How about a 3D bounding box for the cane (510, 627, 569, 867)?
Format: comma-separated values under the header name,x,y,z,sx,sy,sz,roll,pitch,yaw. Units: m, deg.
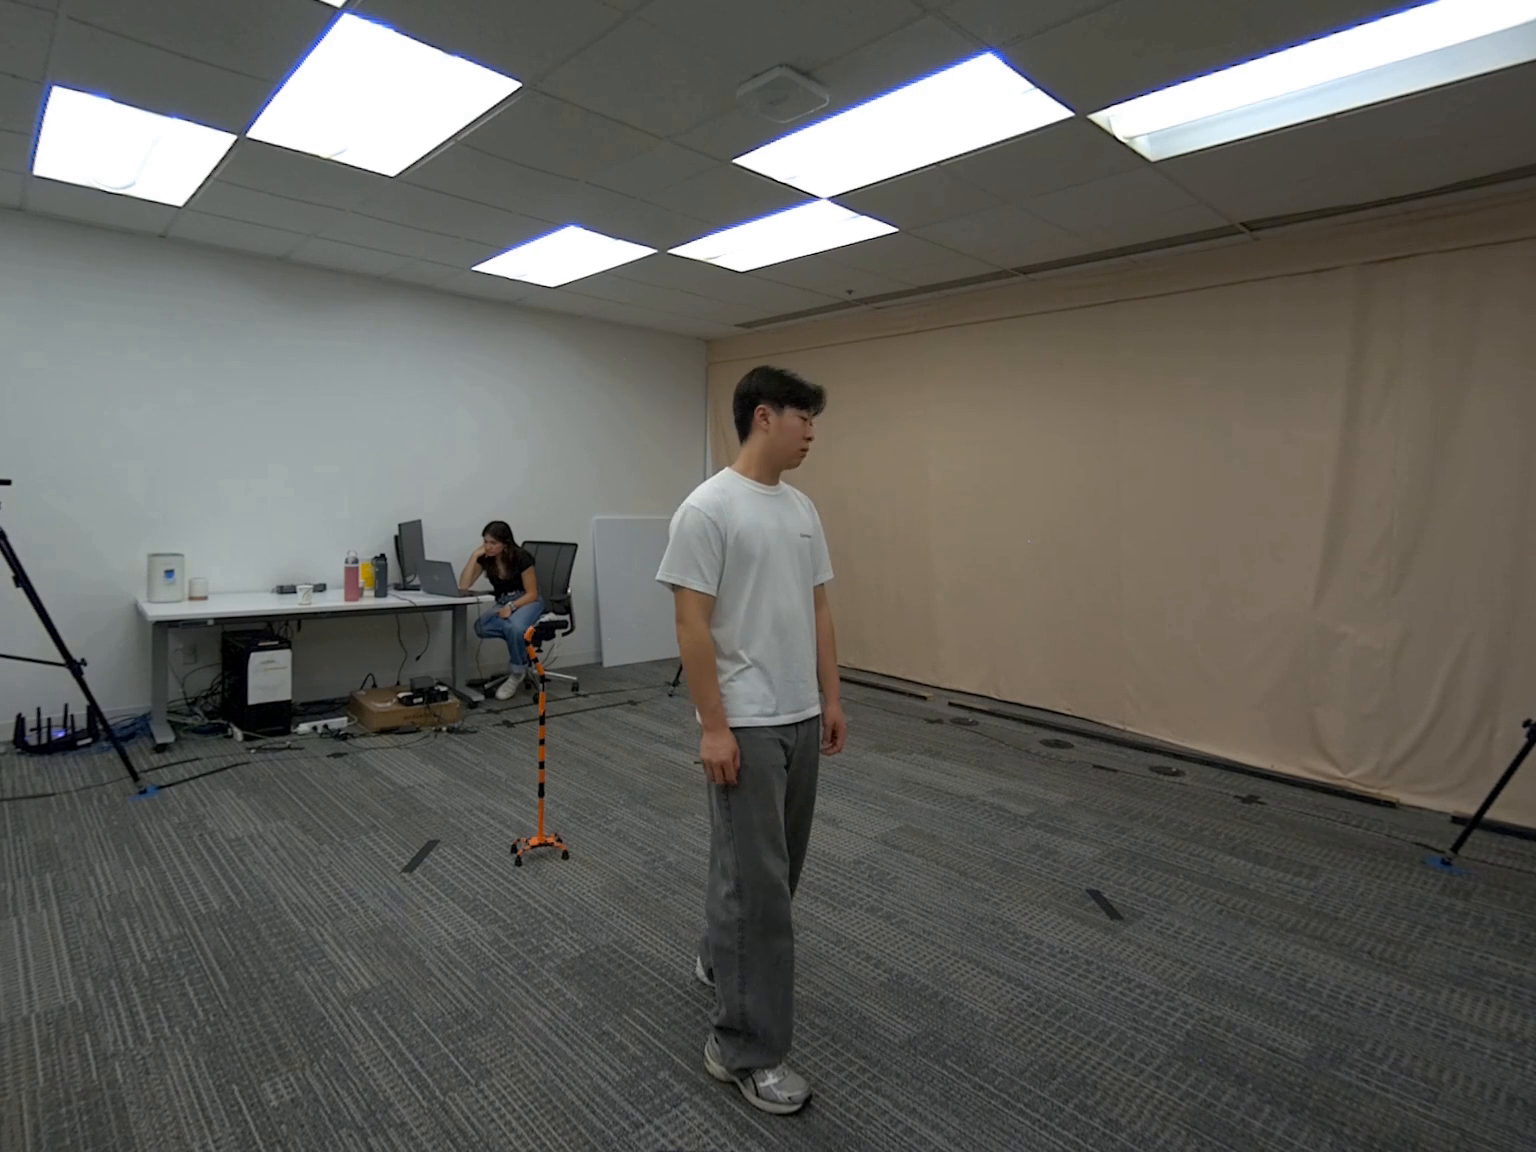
name,x,y,z,sx,sy,sz,roll,pitch,yaw
cane,-0.880,0.632,3.223,0.203,0.906,0.154,0,3,-25
